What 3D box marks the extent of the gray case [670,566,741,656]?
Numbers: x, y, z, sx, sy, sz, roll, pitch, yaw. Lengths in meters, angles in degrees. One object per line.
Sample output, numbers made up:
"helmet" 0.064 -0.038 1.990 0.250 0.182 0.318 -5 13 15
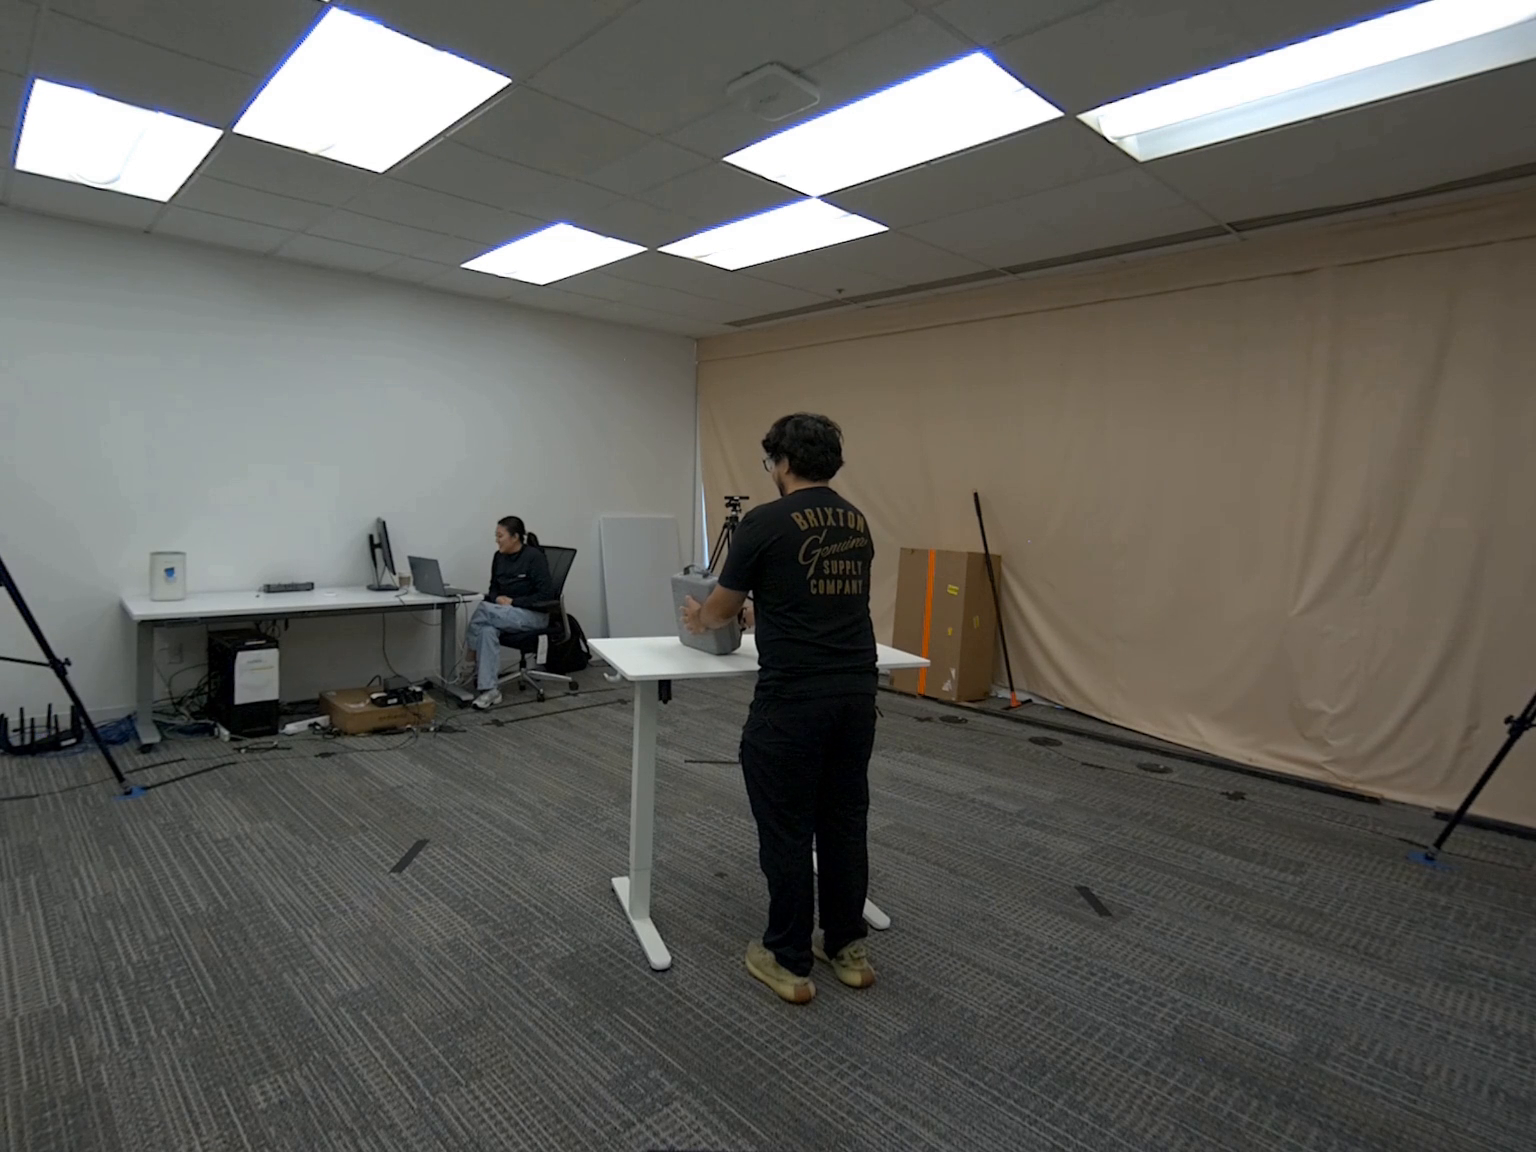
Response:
"gray case" -0.213 0.116 2.786 0.102 0.258 0.263 -13 12 -32
